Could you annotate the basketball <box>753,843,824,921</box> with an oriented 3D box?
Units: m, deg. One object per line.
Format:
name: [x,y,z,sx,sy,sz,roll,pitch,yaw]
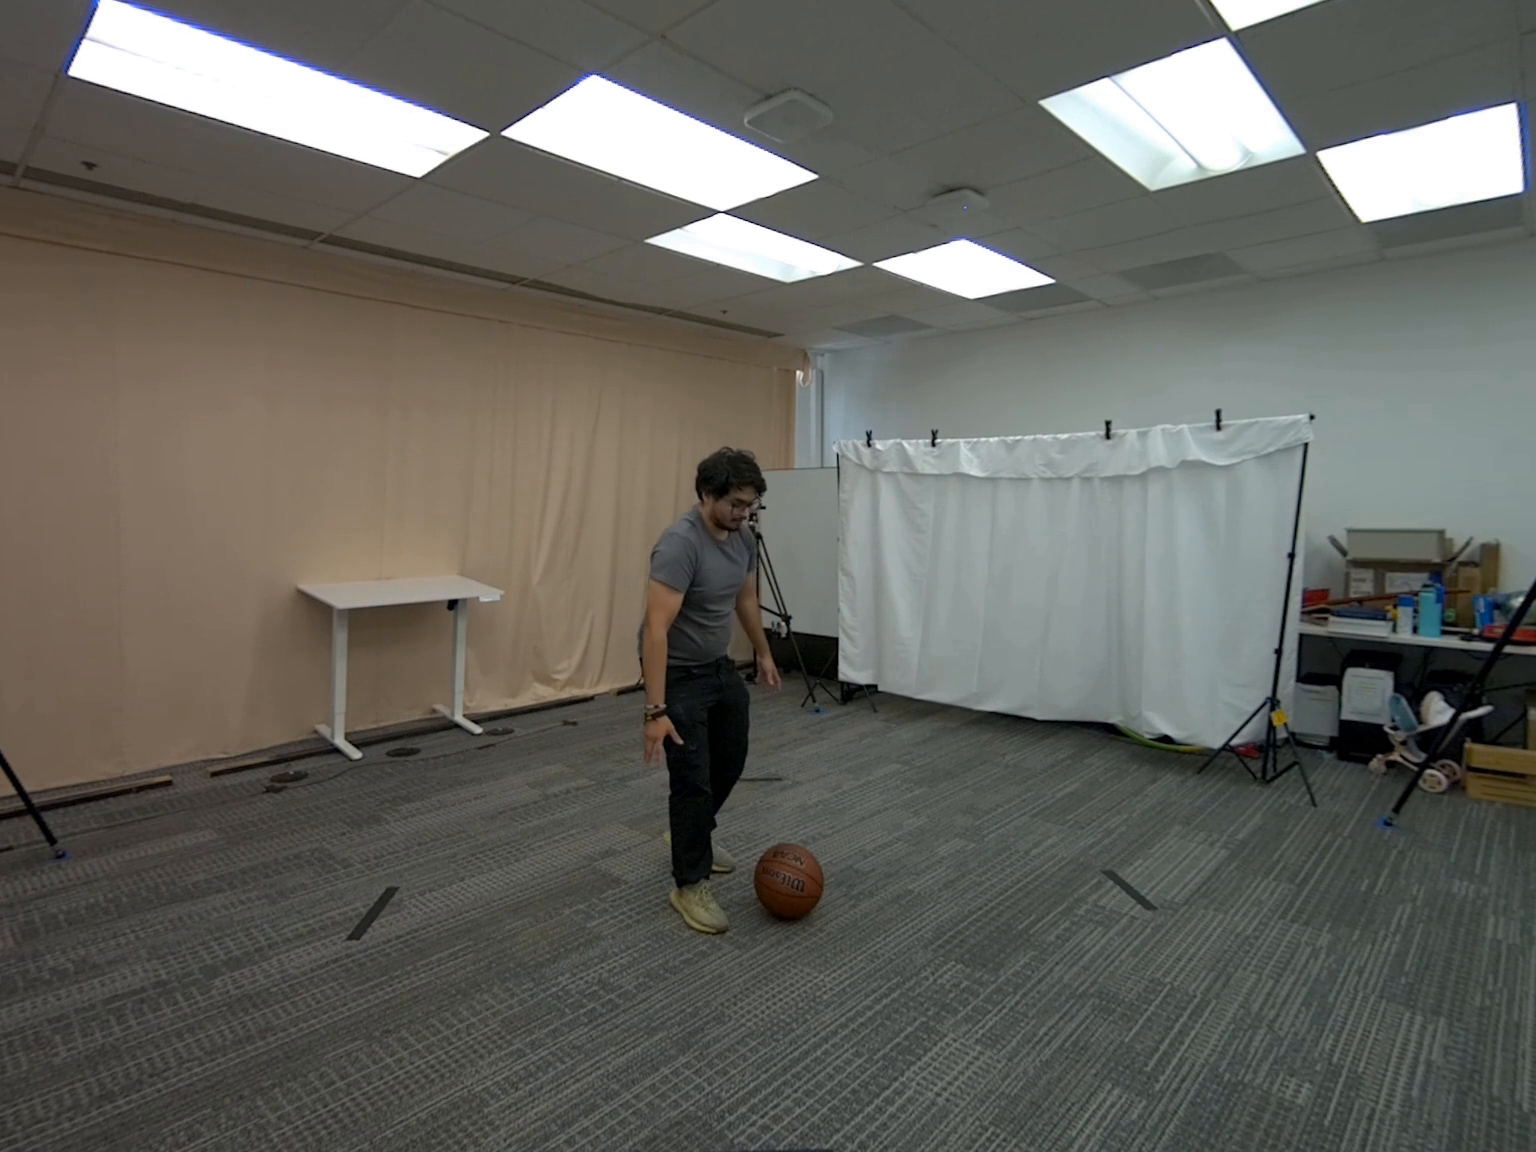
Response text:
basketball: [0.080,1.034,2.860,0.236,0.235,0.237,0,4,-2]
